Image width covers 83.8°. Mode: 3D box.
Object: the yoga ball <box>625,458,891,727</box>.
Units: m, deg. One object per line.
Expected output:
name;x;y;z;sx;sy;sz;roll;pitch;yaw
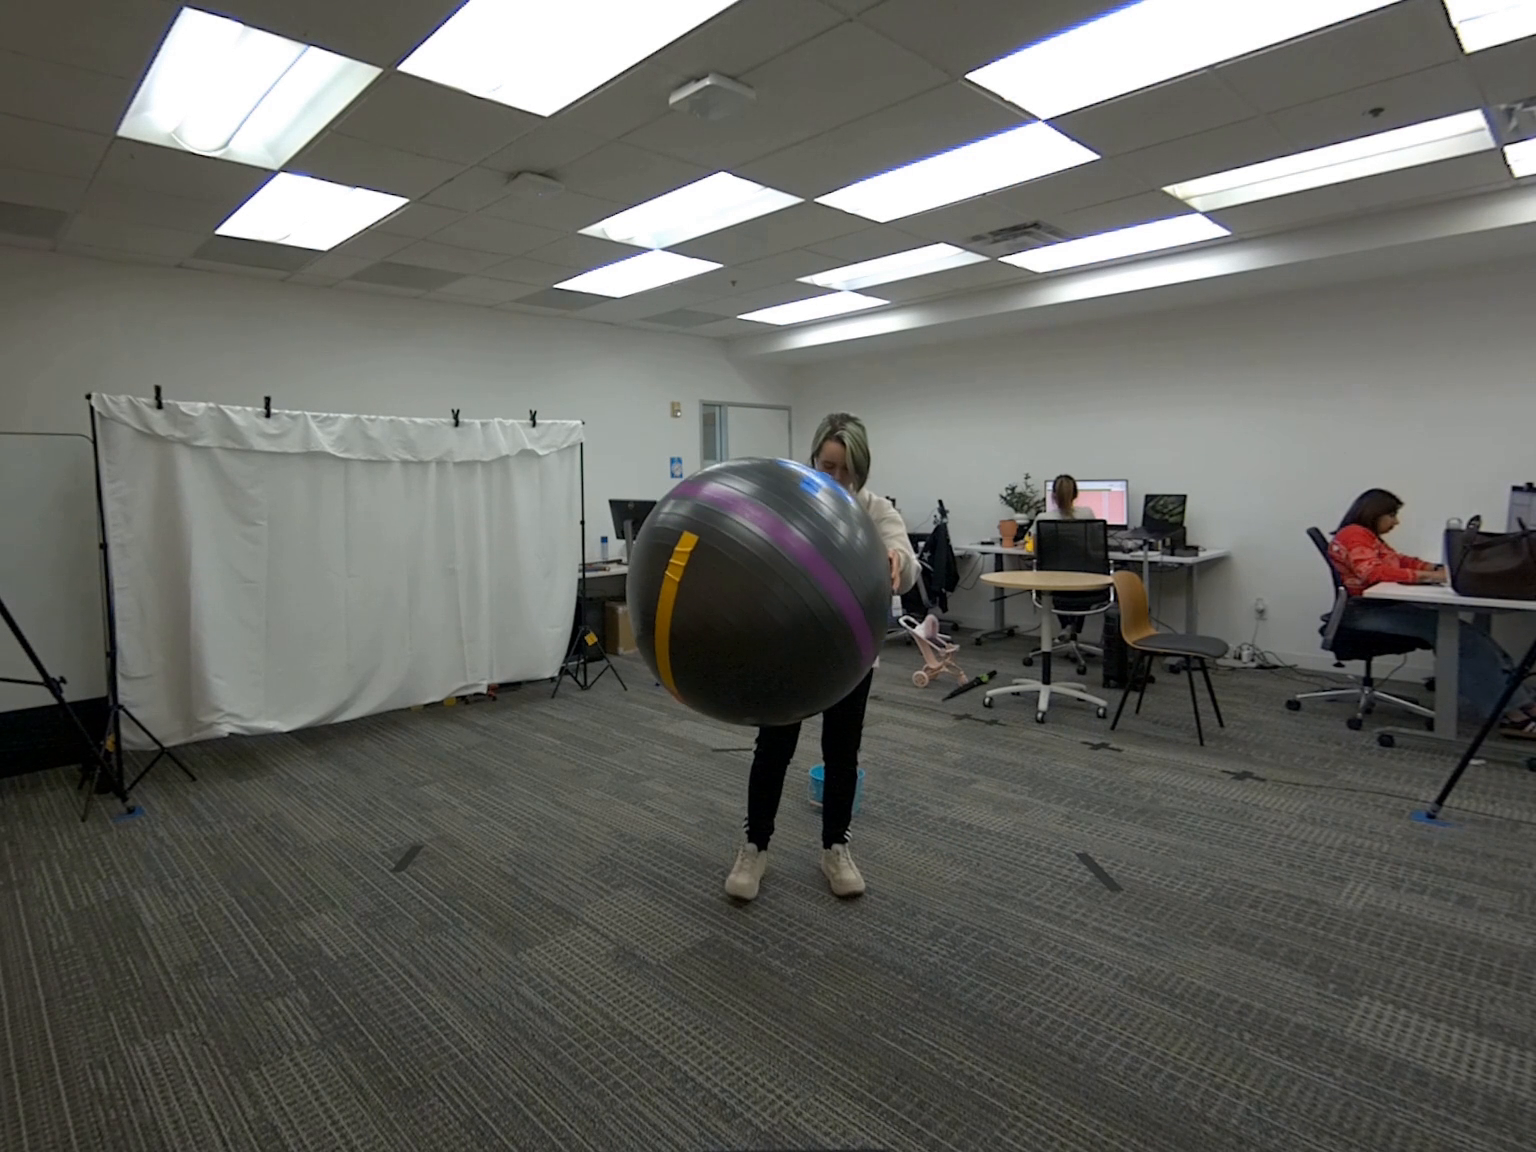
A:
yoga ball;-0.024;0.054;2.423;0.757;0.755;0.762;-1;5;-2
